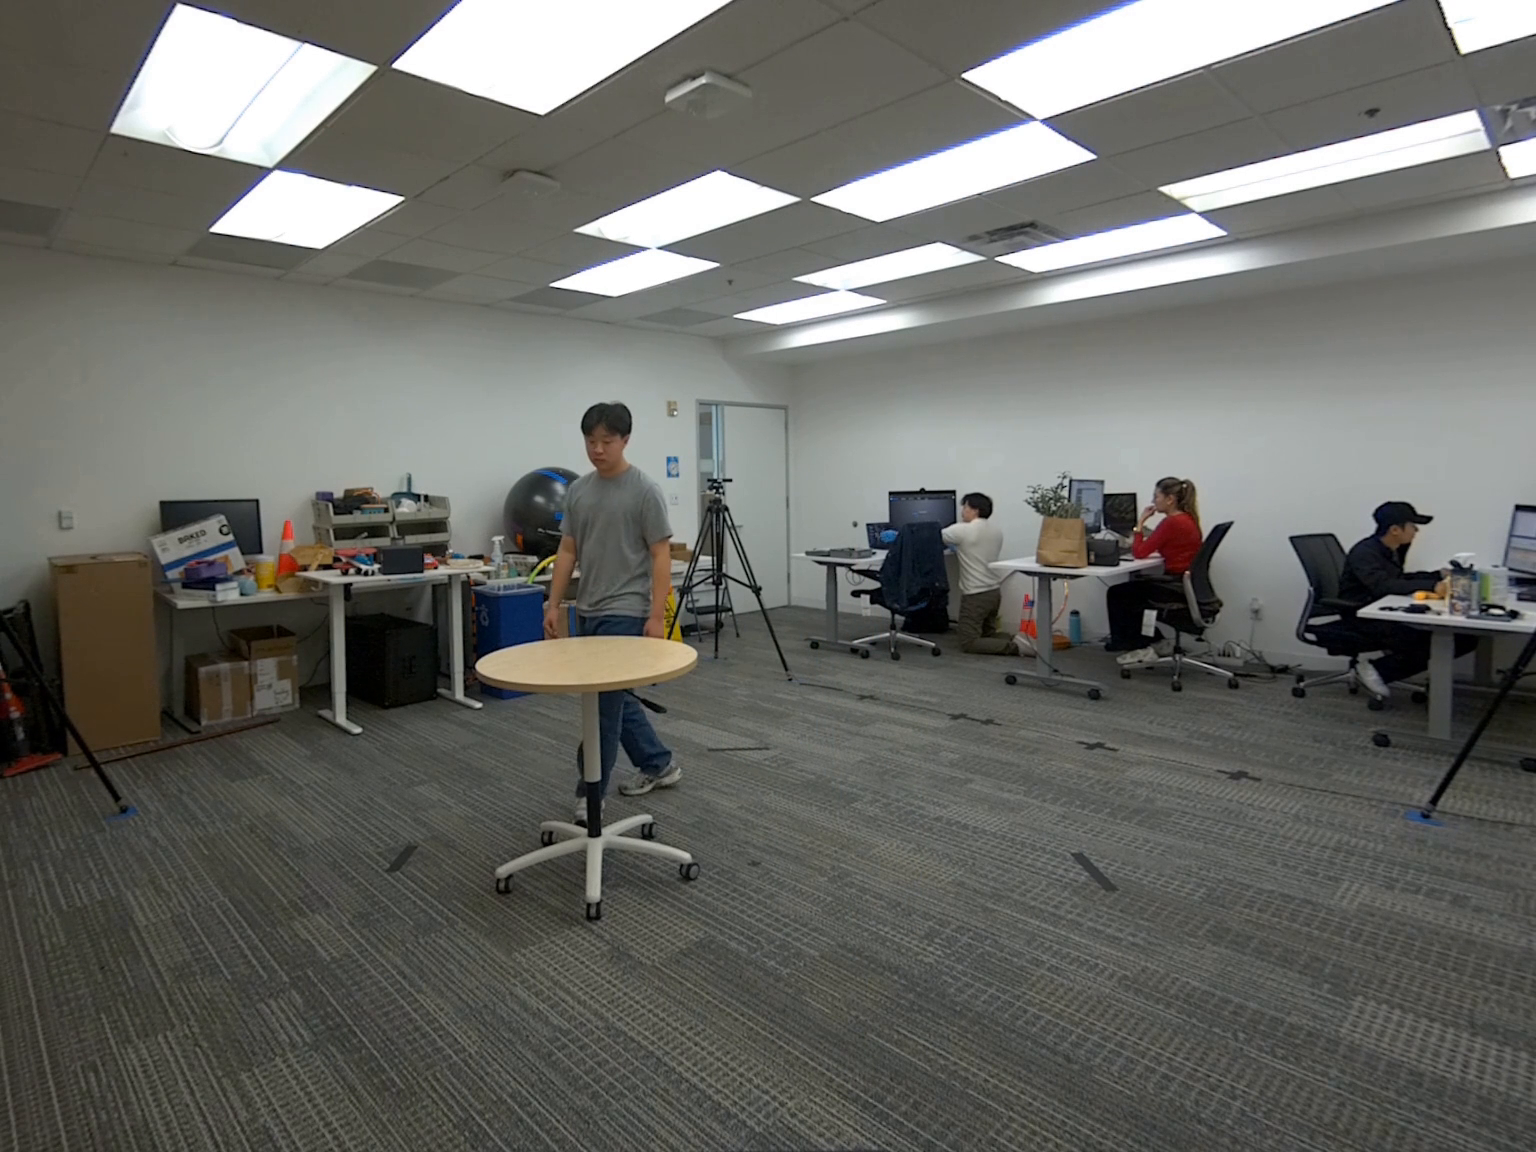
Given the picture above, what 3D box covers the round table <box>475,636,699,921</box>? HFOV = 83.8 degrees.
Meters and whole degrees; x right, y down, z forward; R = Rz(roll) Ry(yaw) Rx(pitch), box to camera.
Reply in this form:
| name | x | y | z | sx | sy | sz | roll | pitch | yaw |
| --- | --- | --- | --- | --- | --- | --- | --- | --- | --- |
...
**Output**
| name | x | y | z | sx | sy | sz | roll | pitch | yaw |
| --- | --- | --- | --- | --- | --- | --- | --- | --- | --- |
| round table | -0.617 | 0.679 | 3.026 | 0.763 | 0.791 | 0.768 | -2 | 5 | -2 |
